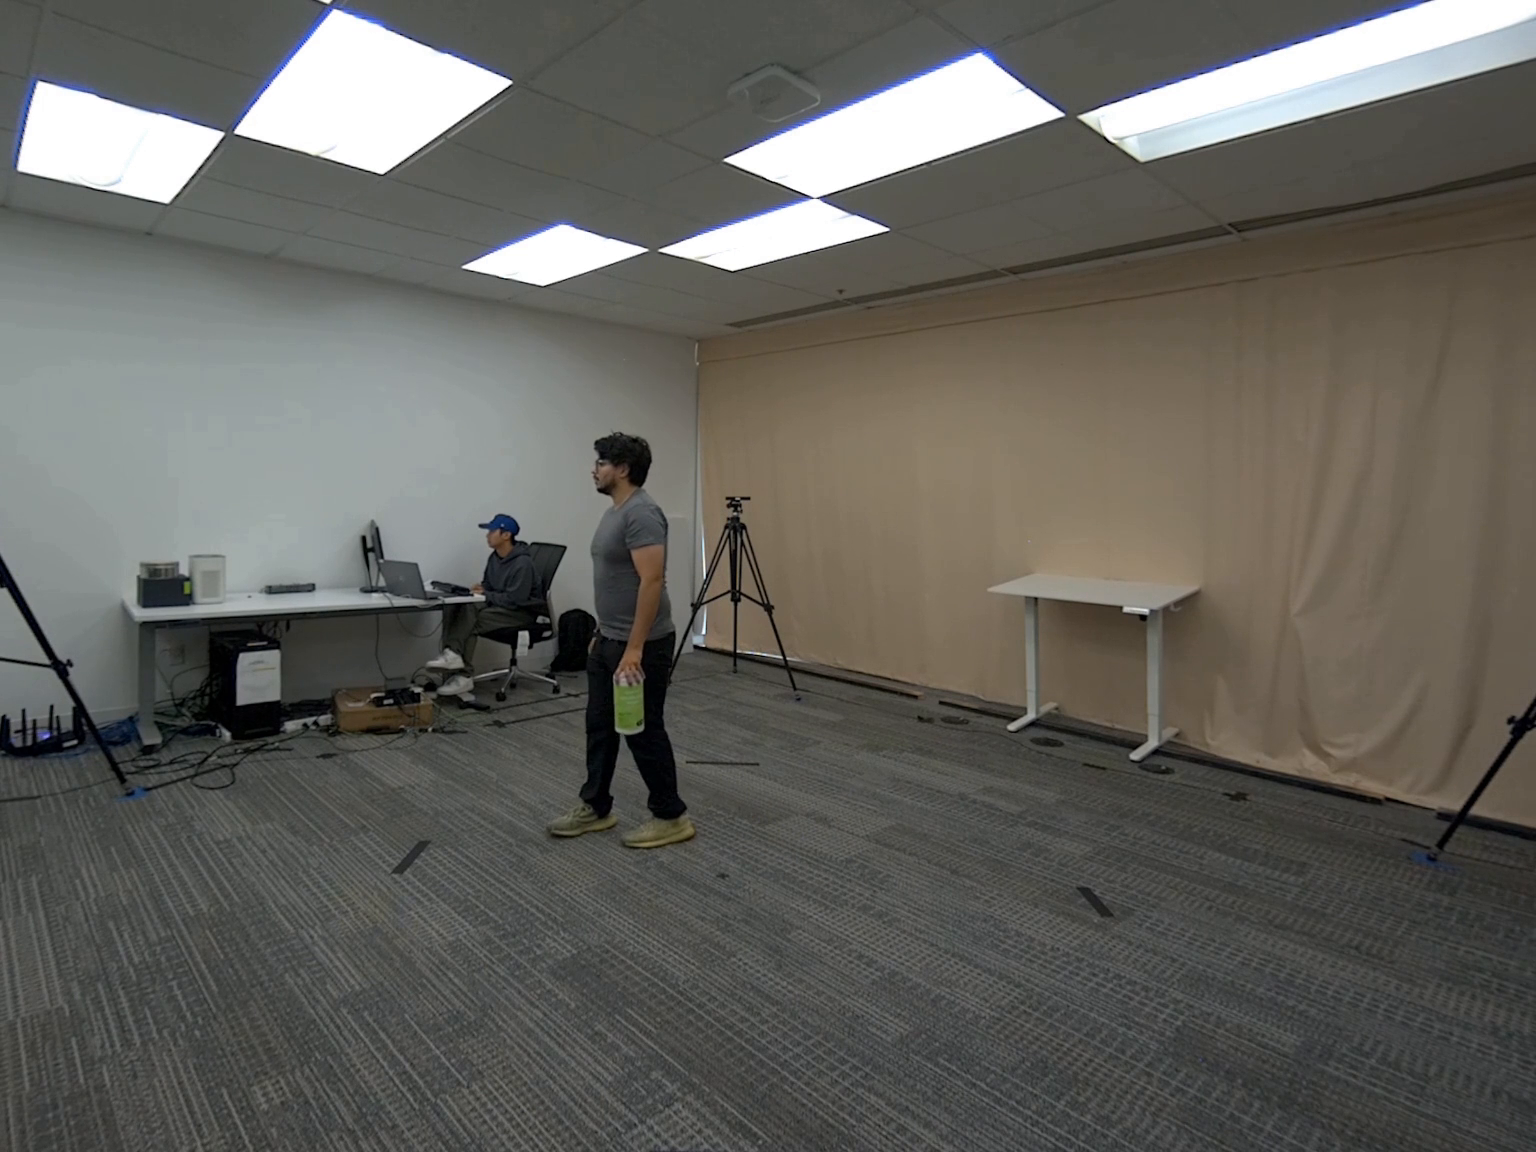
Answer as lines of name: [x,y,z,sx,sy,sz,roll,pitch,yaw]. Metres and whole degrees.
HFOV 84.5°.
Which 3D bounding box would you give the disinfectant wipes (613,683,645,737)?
disinfectant wipes: [-0.533,0.468,3.108,0.118,0.216,0.119,-1,10,-1]
